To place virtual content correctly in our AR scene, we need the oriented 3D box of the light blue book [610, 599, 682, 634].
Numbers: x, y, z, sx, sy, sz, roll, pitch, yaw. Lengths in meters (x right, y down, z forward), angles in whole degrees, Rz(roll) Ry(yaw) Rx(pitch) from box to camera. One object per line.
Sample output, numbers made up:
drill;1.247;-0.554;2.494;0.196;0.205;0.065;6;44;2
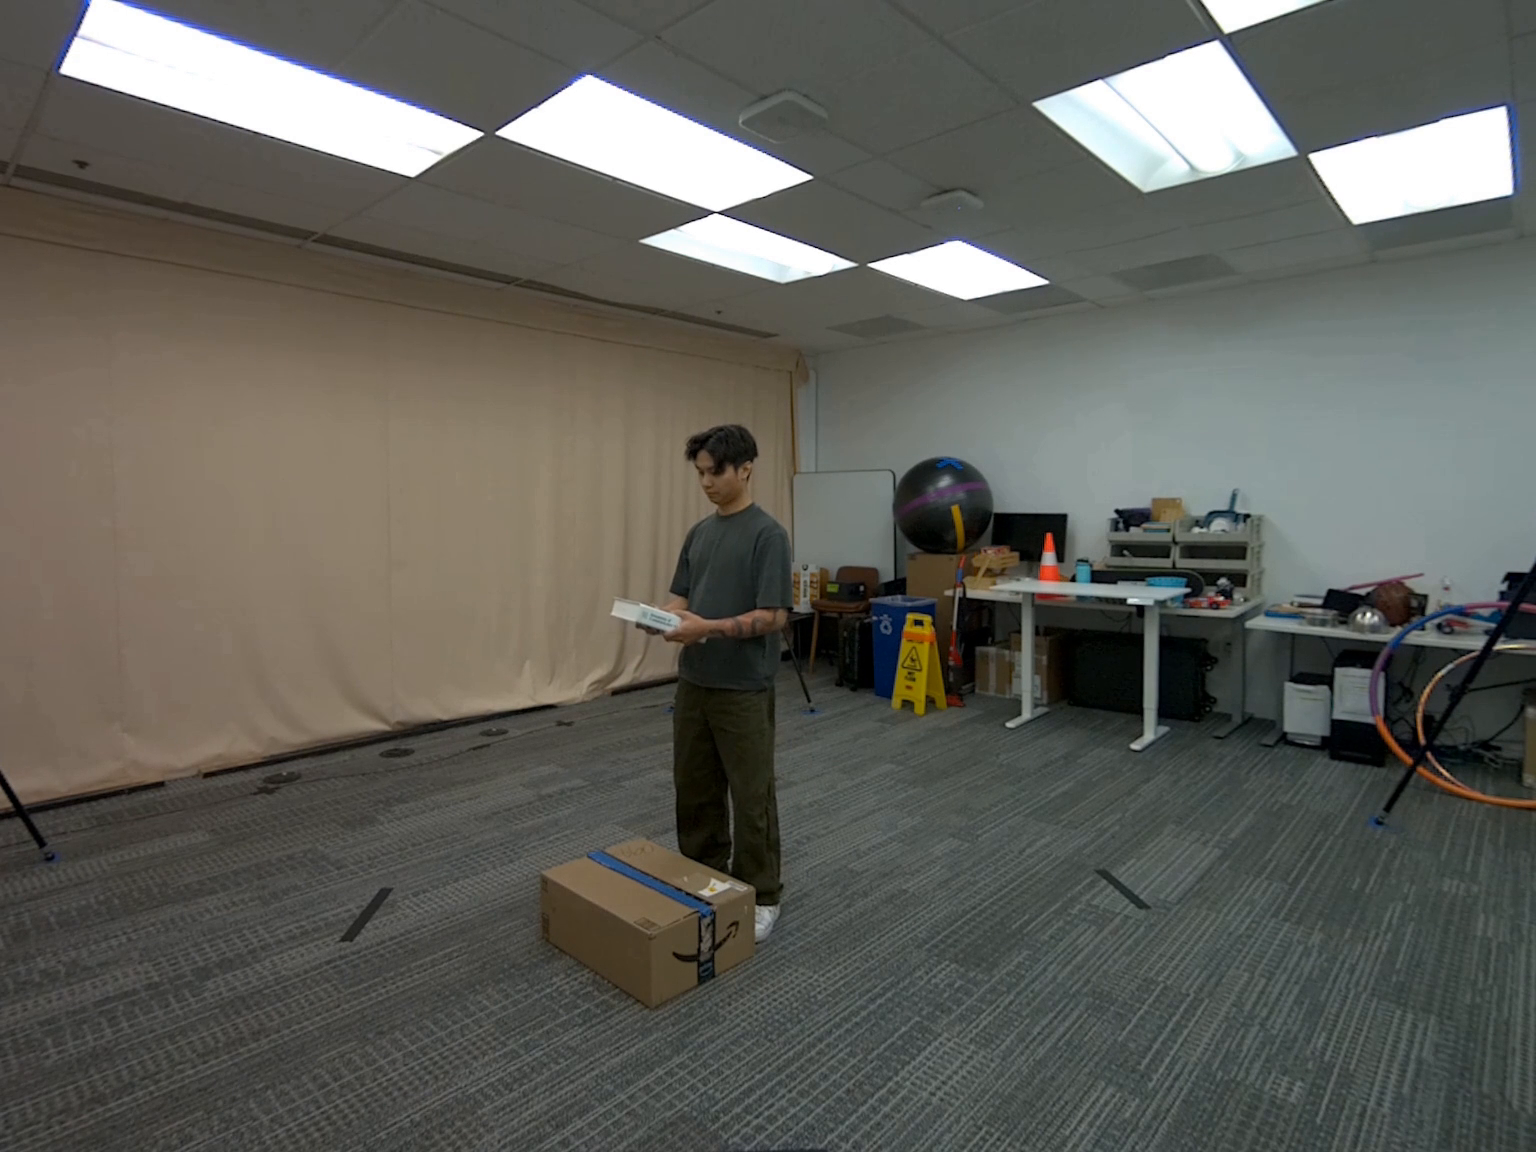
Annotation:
light blue book;-0.354;0.138;2.689;0.253;0.059;0.197;19;-7;-32
